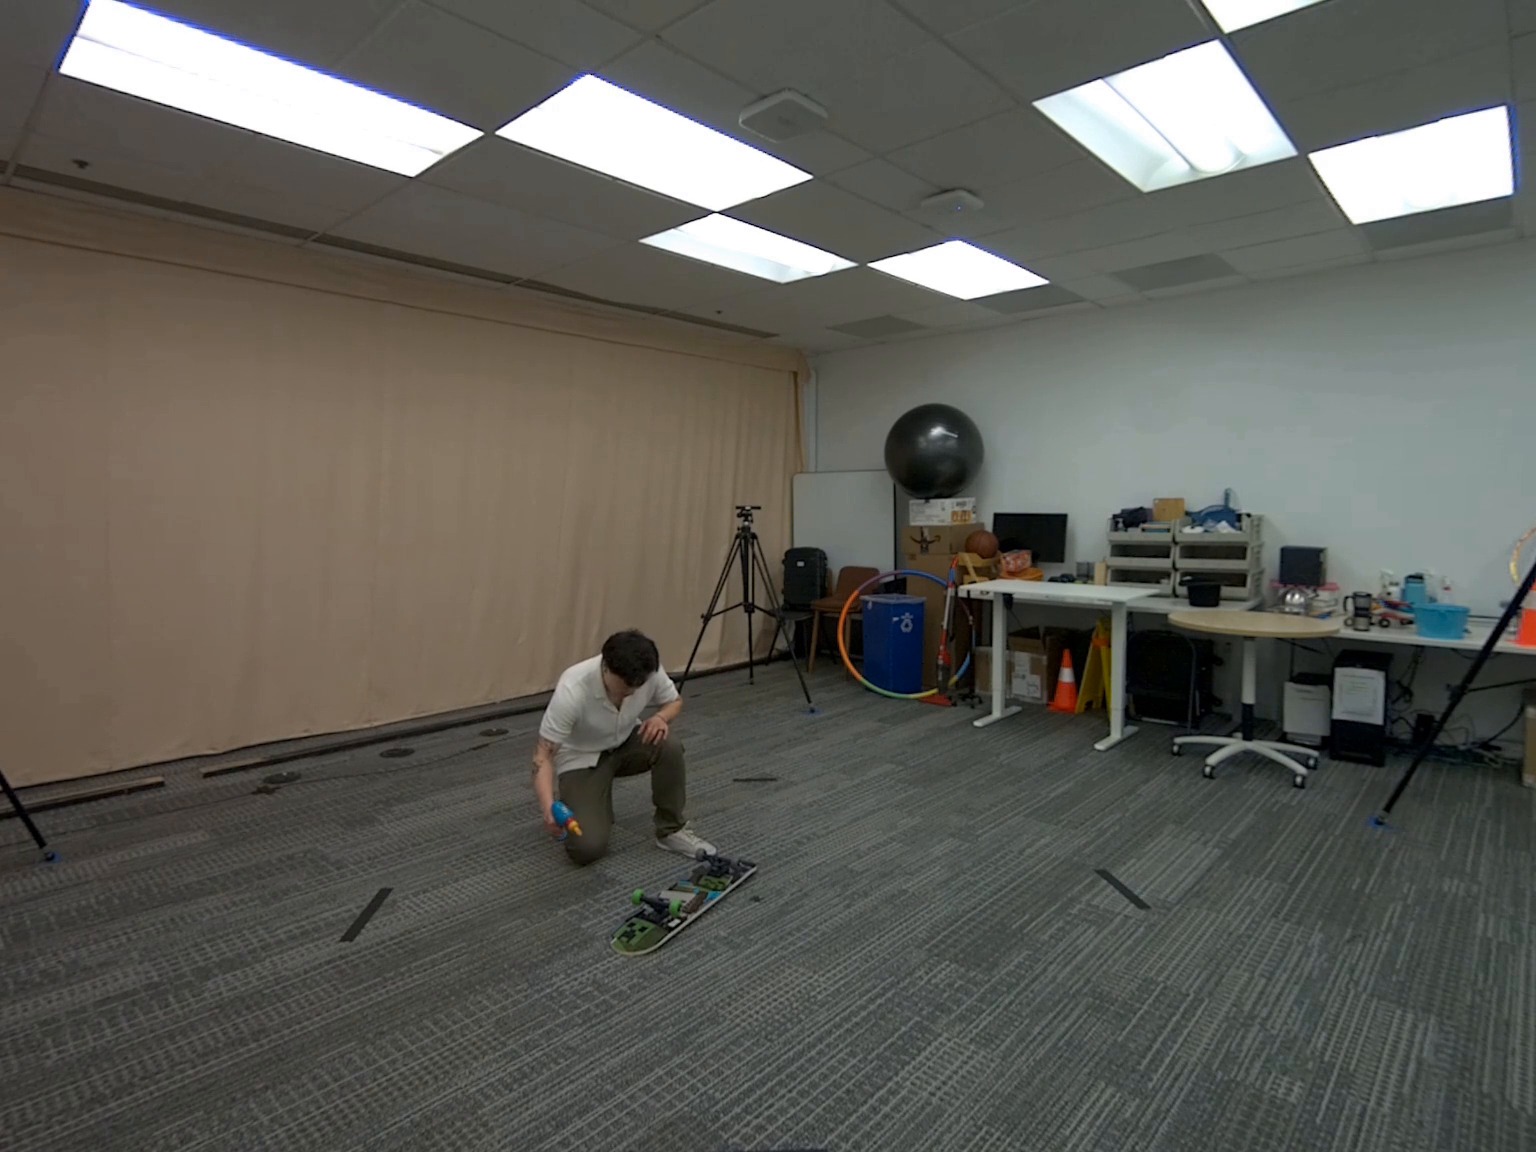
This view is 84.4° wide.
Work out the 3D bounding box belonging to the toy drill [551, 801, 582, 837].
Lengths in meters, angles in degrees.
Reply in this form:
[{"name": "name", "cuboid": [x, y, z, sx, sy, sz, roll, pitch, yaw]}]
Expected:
[{"name": "toy drill", "cuboid": [-0.728, 0.901, 3.013, 0.060, 0.144, 0.176, -19, 45, -37]}]
